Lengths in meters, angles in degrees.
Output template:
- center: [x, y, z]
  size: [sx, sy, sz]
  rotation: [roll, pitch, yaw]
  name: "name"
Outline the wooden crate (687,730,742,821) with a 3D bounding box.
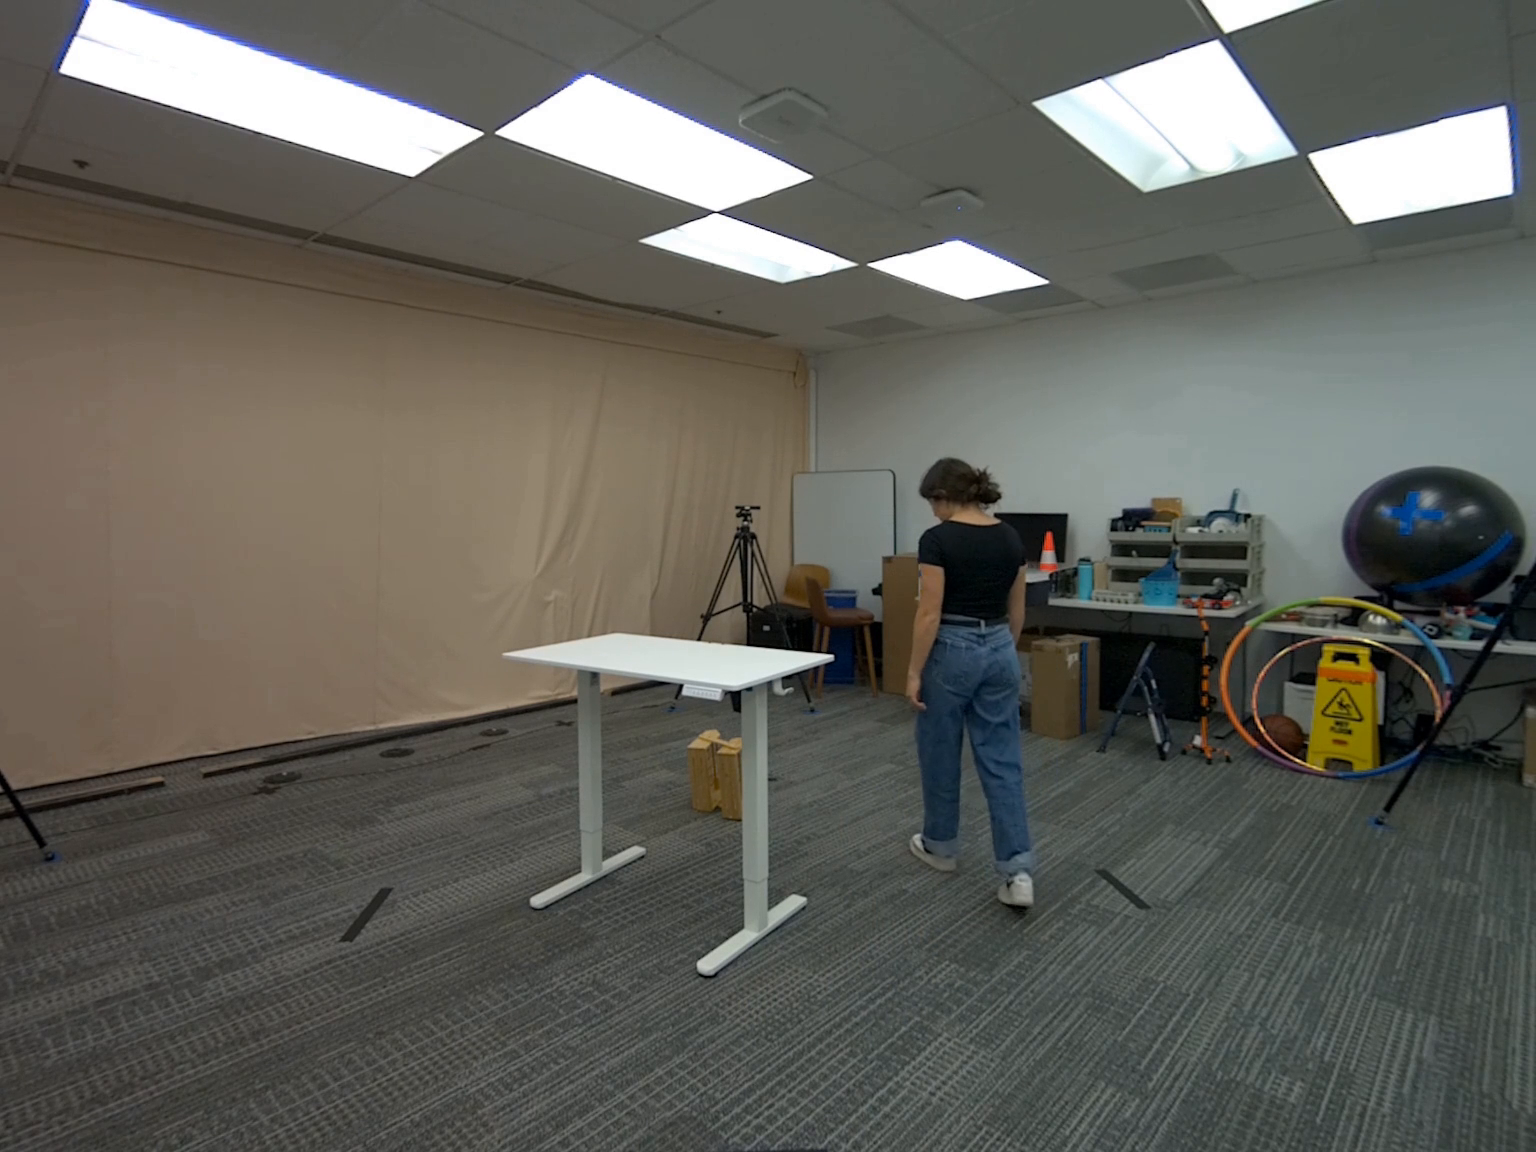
- center: [-0.201, 0.905, 3.888]
  size: [0.279, 0.323, 0.297]
  rotation: [-2, 8, 21]
  name: "wooden crate"
